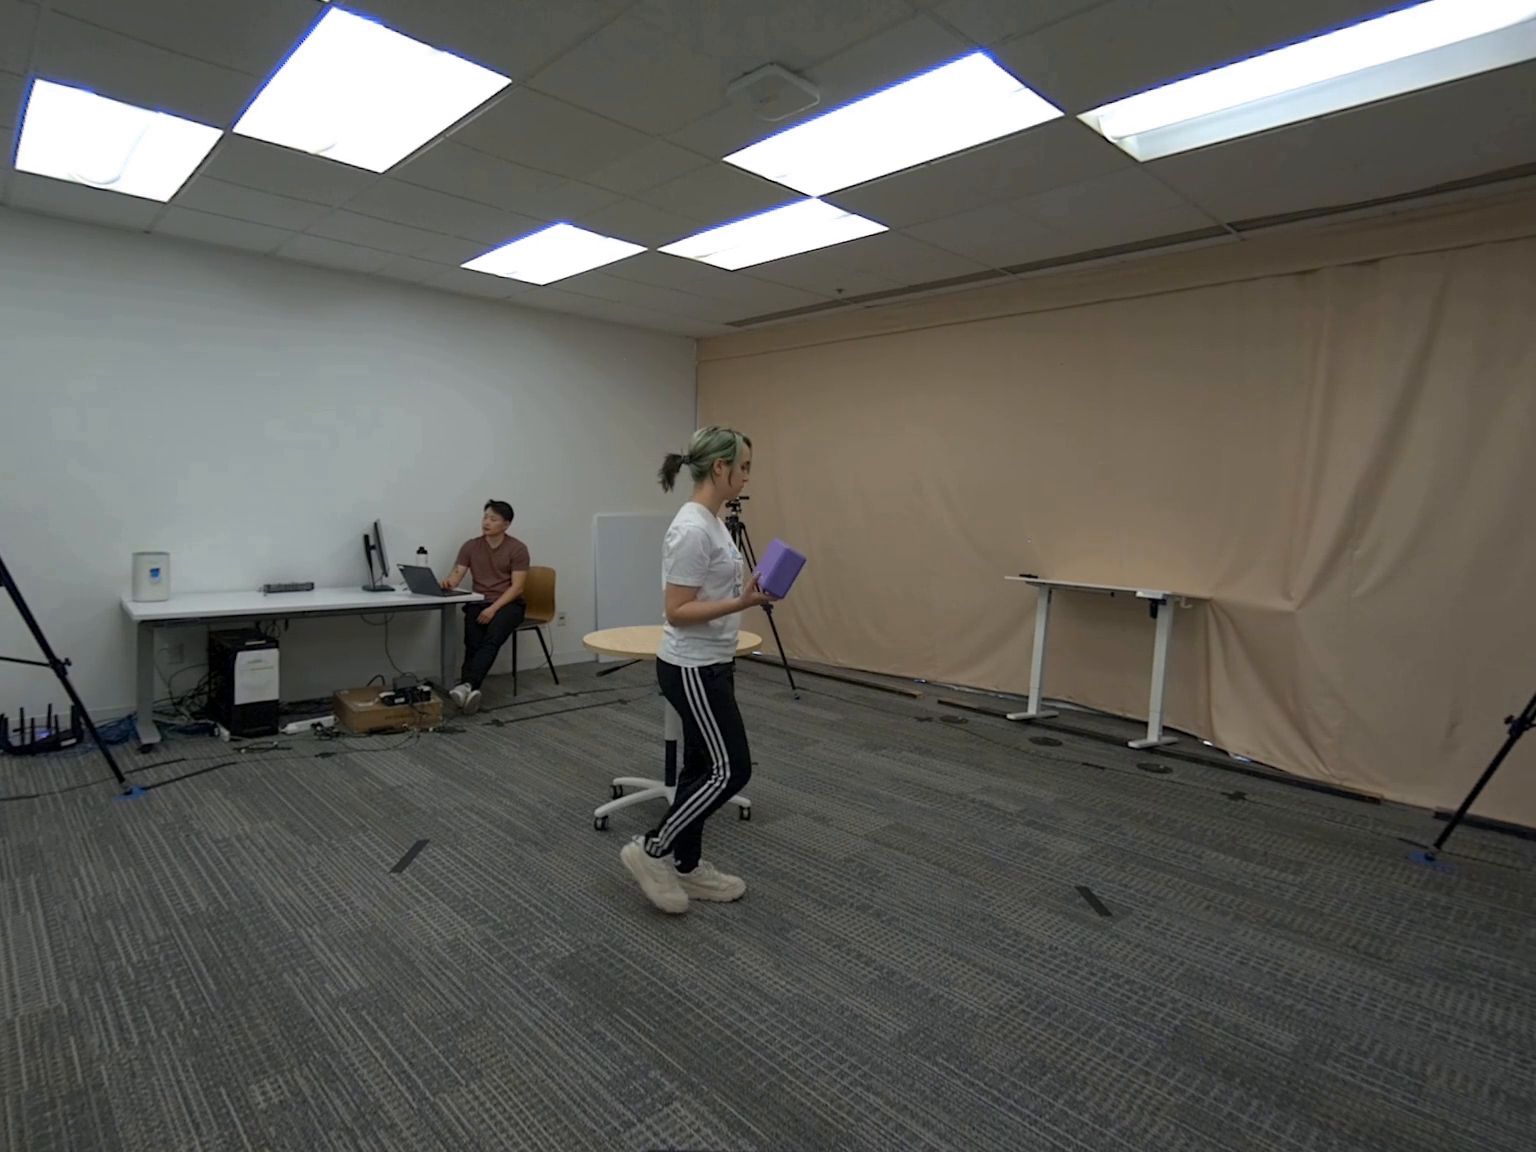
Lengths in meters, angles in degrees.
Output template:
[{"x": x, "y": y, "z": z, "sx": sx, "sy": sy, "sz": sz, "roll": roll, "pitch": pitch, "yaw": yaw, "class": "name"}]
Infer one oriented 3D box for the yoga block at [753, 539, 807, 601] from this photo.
[{"x": 0.024, "y": -0.024, "z": 2.579, "sx": 0.076, "sy": 0.149, "sz": 0.232, "roll": 29, "pitch": 4, "yaw": -11, "class": "yoga block"}]
